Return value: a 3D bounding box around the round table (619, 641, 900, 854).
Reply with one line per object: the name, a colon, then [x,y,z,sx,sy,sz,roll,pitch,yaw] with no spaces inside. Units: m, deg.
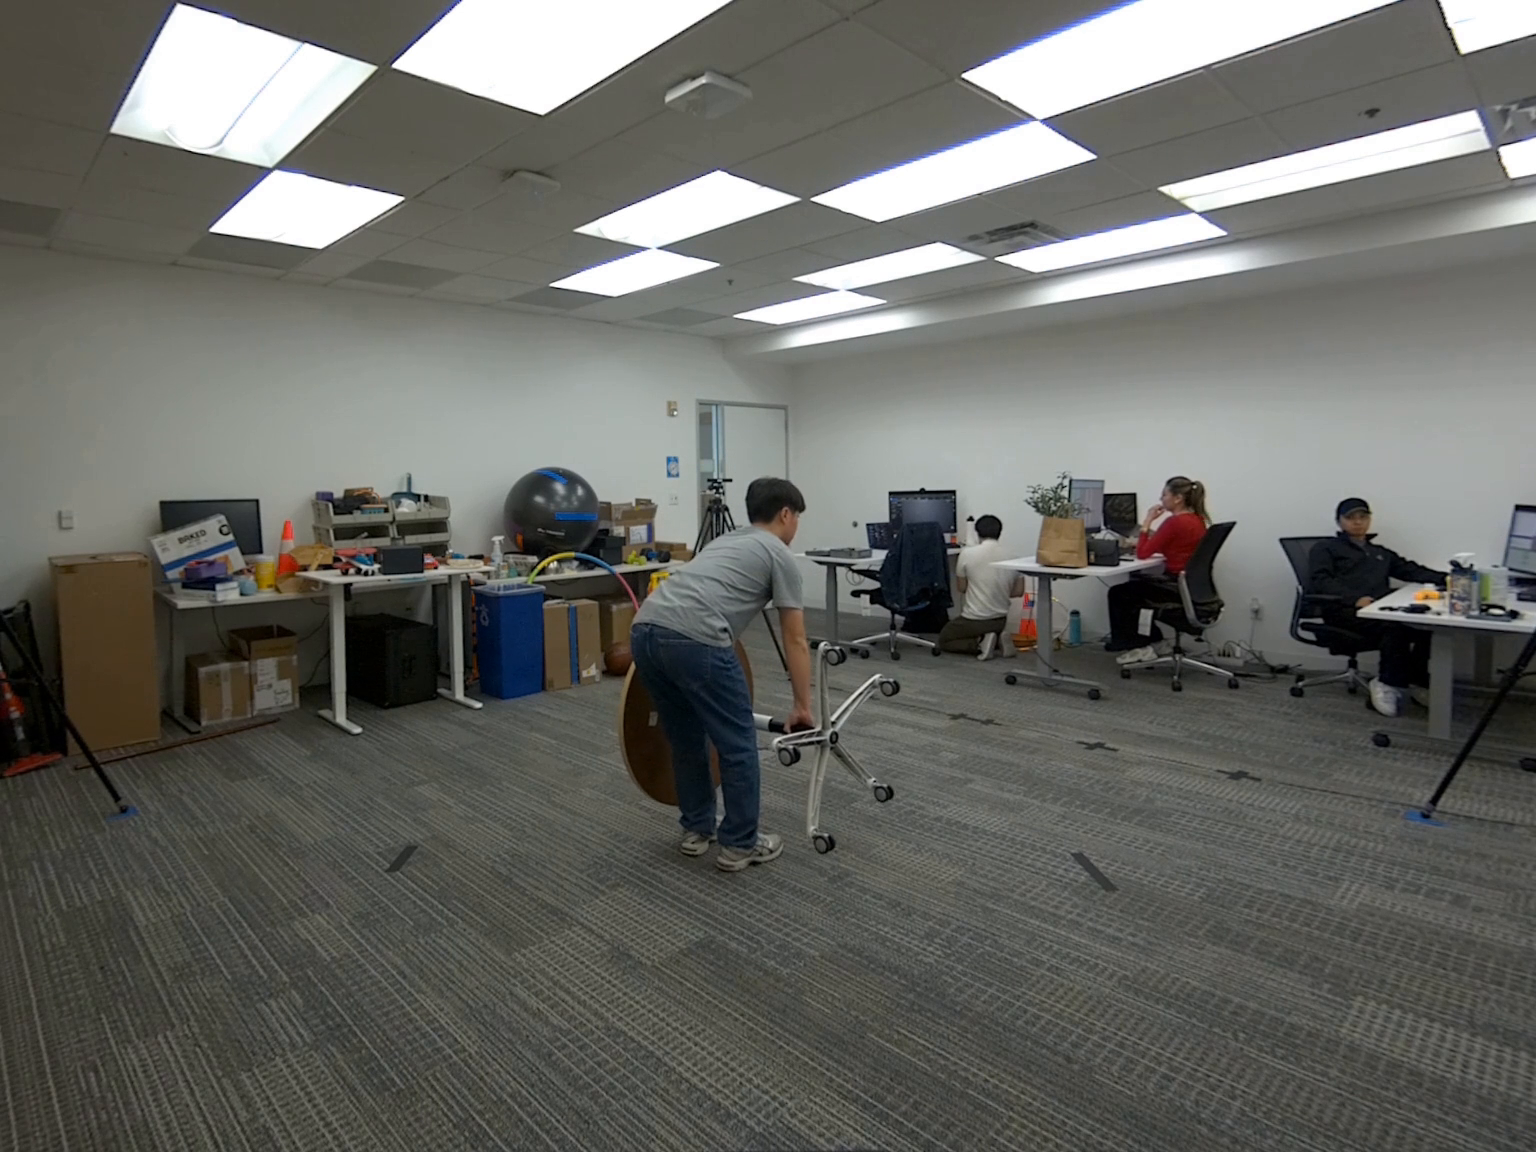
round table: [-0.008,0.561,3.220,0.817,0.761,0.744,2,5,40]
